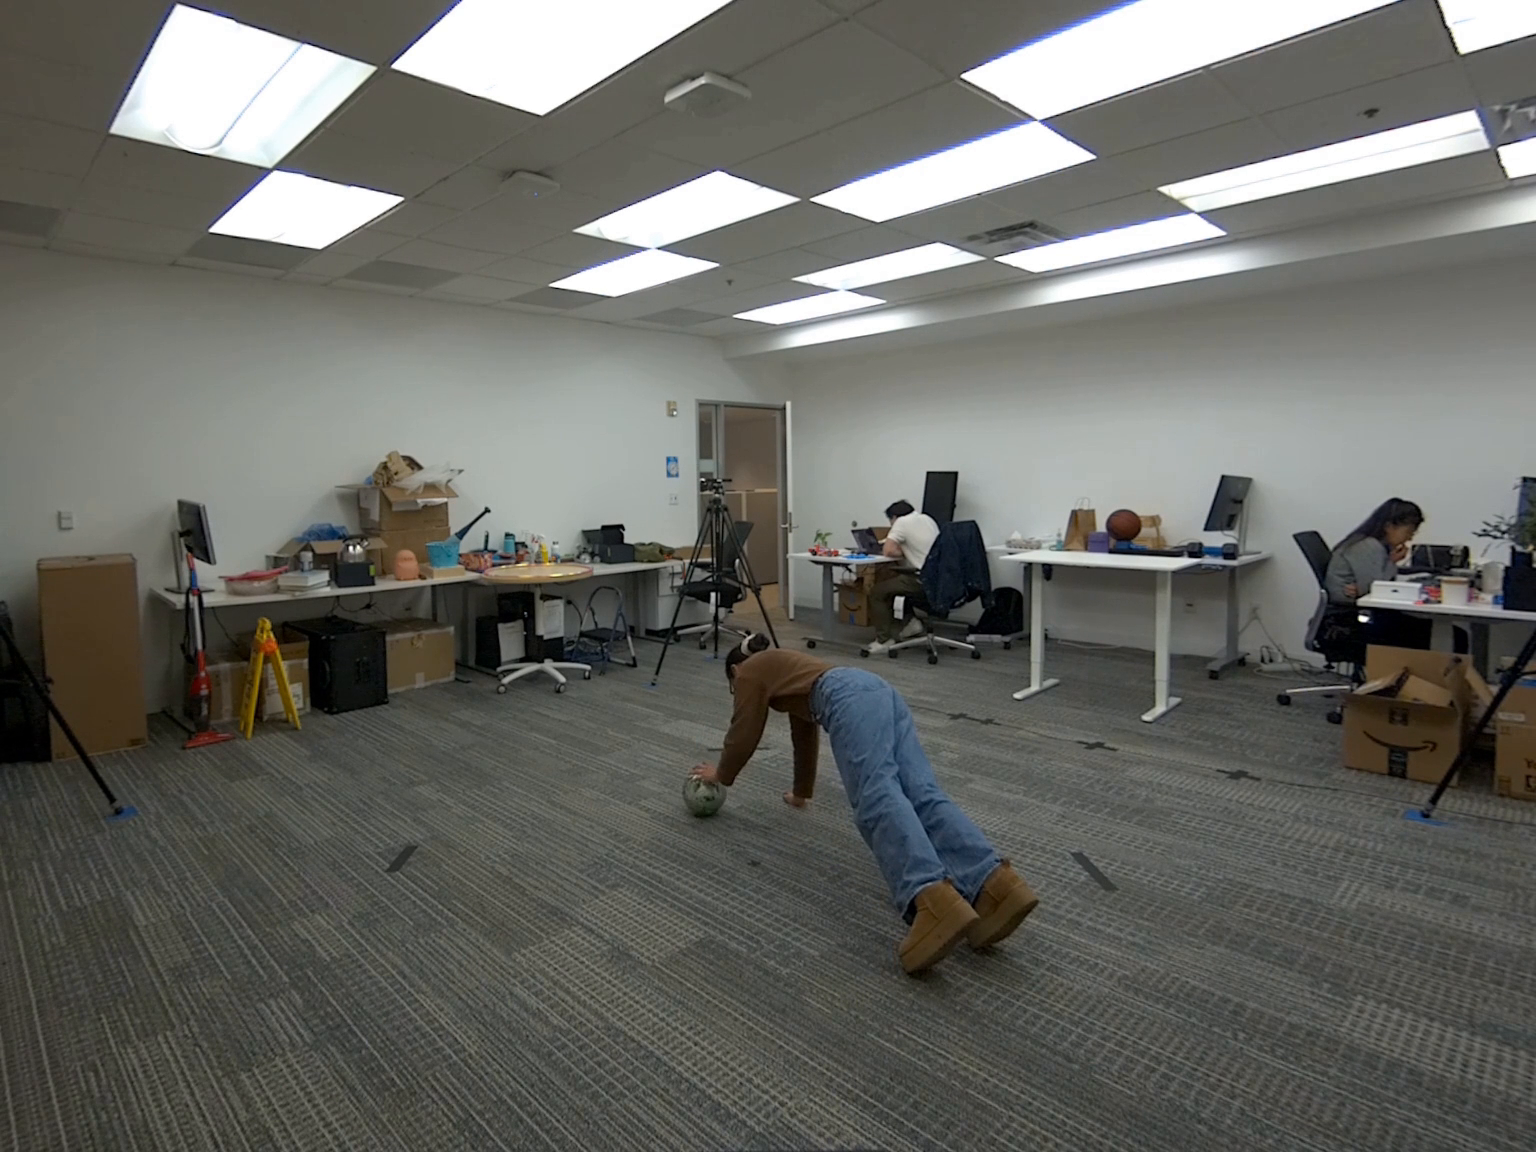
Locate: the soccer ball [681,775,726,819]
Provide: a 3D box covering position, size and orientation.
[{"bbox_3d":[-0.265,0.904,3.578,0.187,0.187,0.188,-1,5,-2],"label":"soccer ball"}]
